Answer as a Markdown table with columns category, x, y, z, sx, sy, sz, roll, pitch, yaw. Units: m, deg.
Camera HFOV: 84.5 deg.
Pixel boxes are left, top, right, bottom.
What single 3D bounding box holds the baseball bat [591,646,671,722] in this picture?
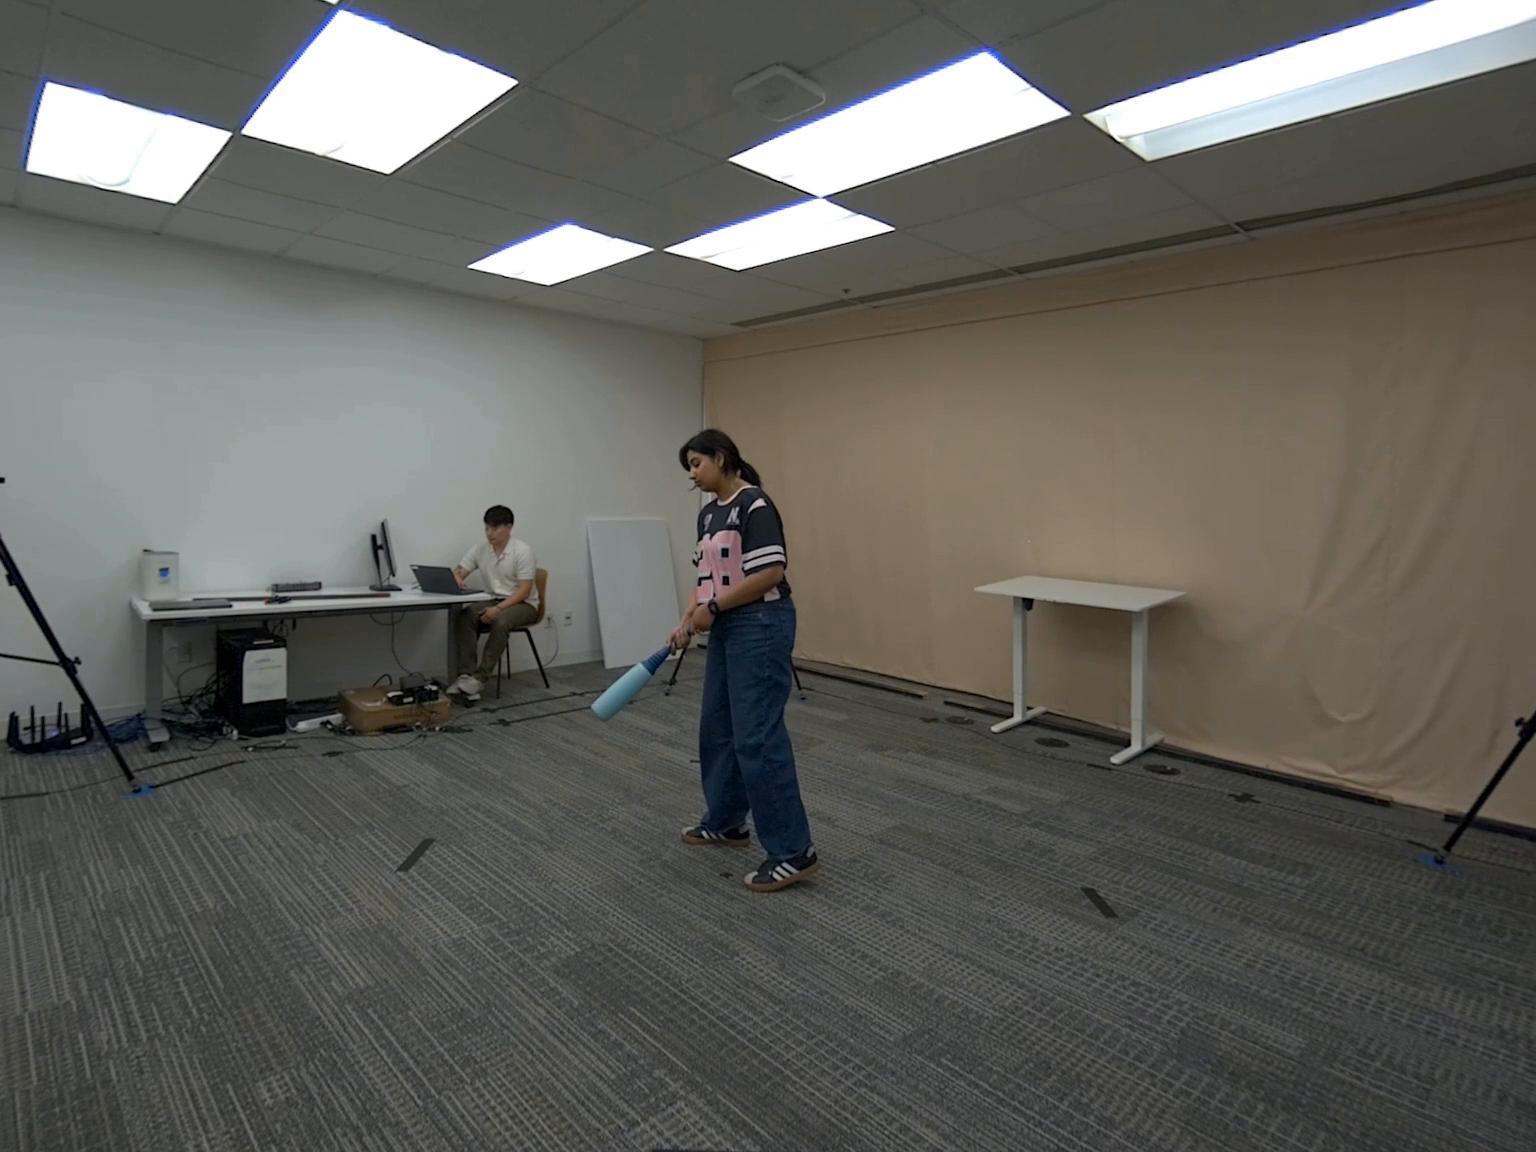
| category | x | y | z | sx | sy | sz | roll | pitch | yaw |
| --- | --- | --- | --- | --- | --- | --- | --- | --- | --- |
| baseball bat | -0.437 | 0.337 | 3.154 | 0.542 | 0.088 | 0.090 | -43 | 14 | -9 |
